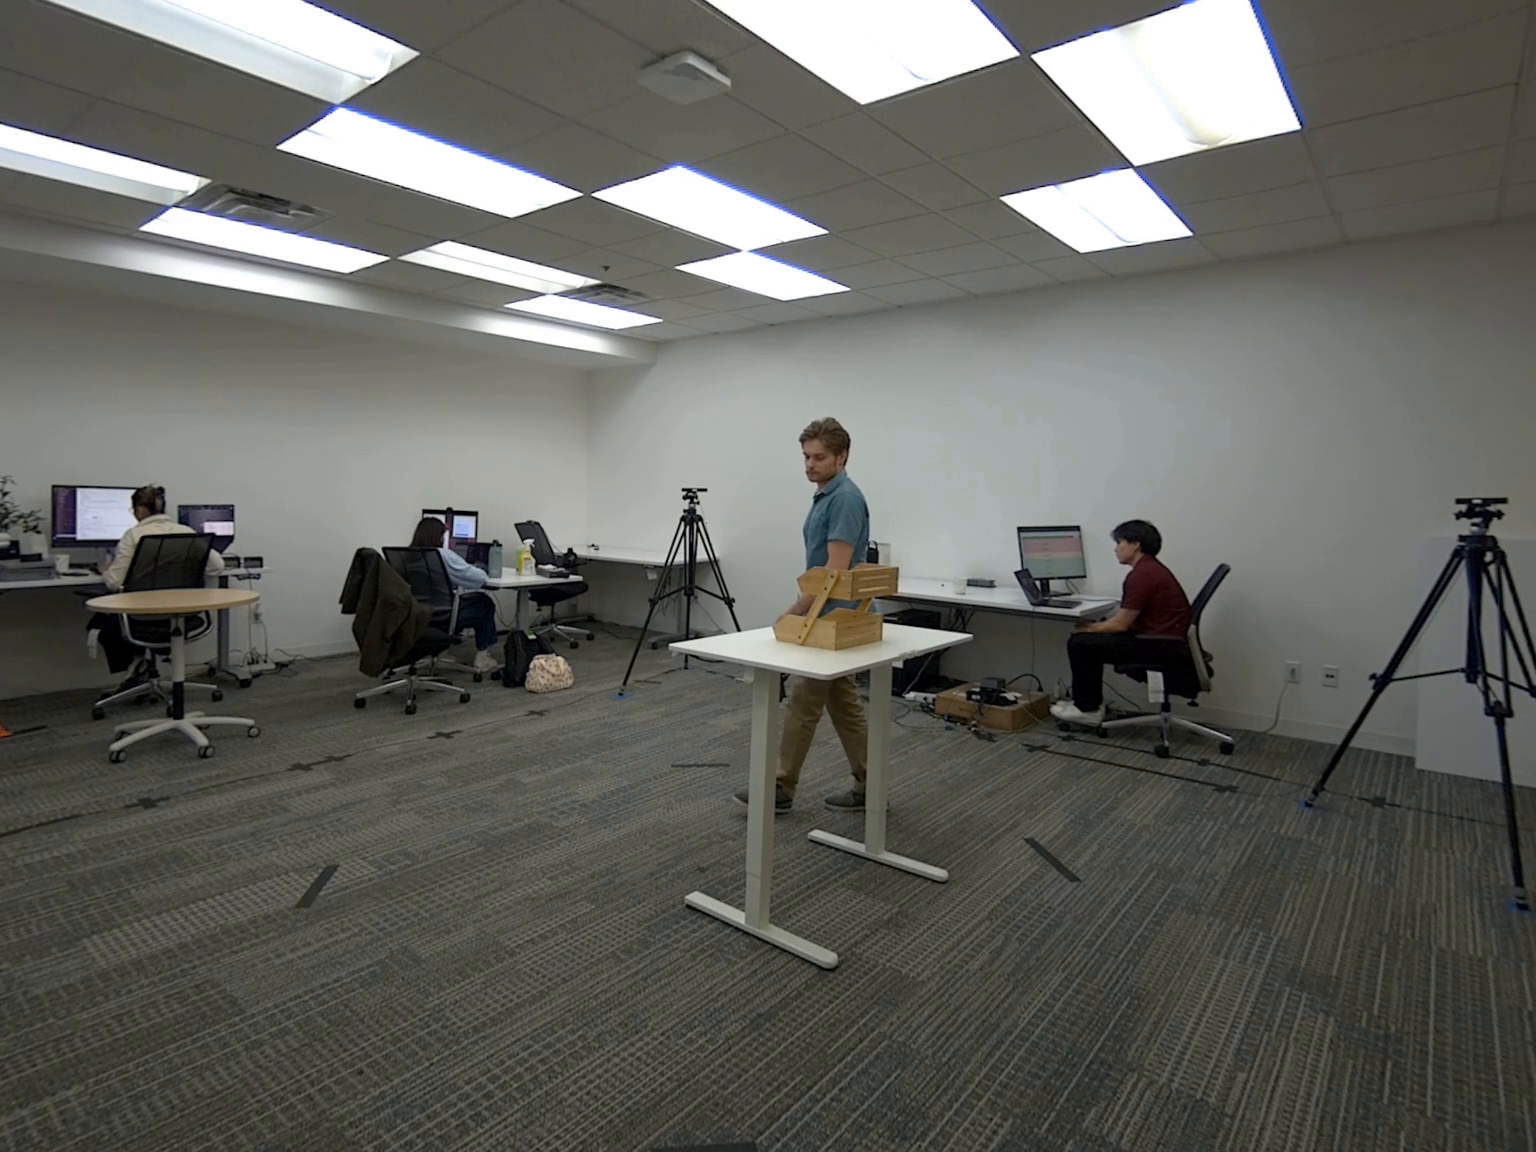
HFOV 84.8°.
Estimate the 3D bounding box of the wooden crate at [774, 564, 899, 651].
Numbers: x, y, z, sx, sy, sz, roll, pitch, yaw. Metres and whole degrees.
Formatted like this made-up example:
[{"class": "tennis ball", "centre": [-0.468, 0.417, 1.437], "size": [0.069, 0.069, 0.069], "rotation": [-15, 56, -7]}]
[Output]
[{"class": "wooden crate", "centre": [0.219, 0.086, 2.872], "size": [0.312, 0.272, 0.315], "rotation": [6, 6, 38]}]
